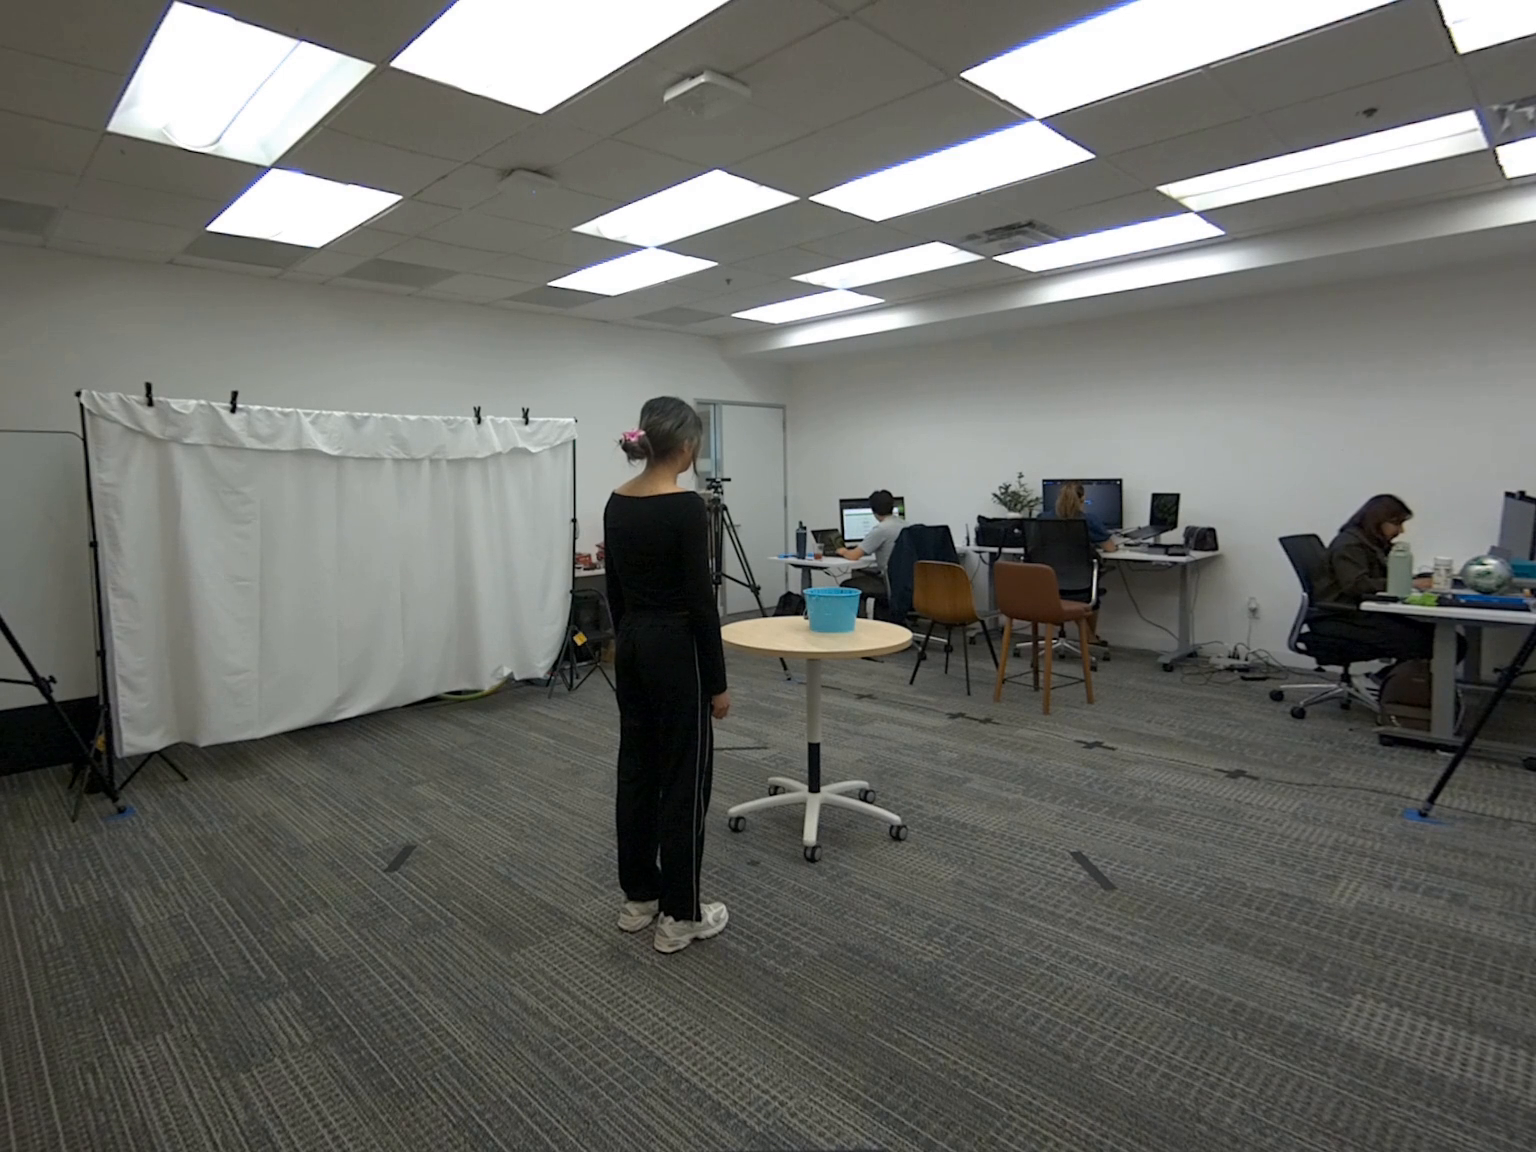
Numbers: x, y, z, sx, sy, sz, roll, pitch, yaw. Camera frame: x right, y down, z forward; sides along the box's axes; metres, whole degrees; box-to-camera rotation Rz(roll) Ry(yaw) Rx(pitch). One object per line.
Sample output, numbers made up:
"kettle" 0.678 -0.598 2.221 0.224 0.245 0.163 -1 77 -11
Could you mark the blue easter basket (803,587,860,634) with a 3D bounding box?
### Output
"blue easter basket" 0.267 0.142 3.457 0.243 0.155 0.245 0 6 -2
